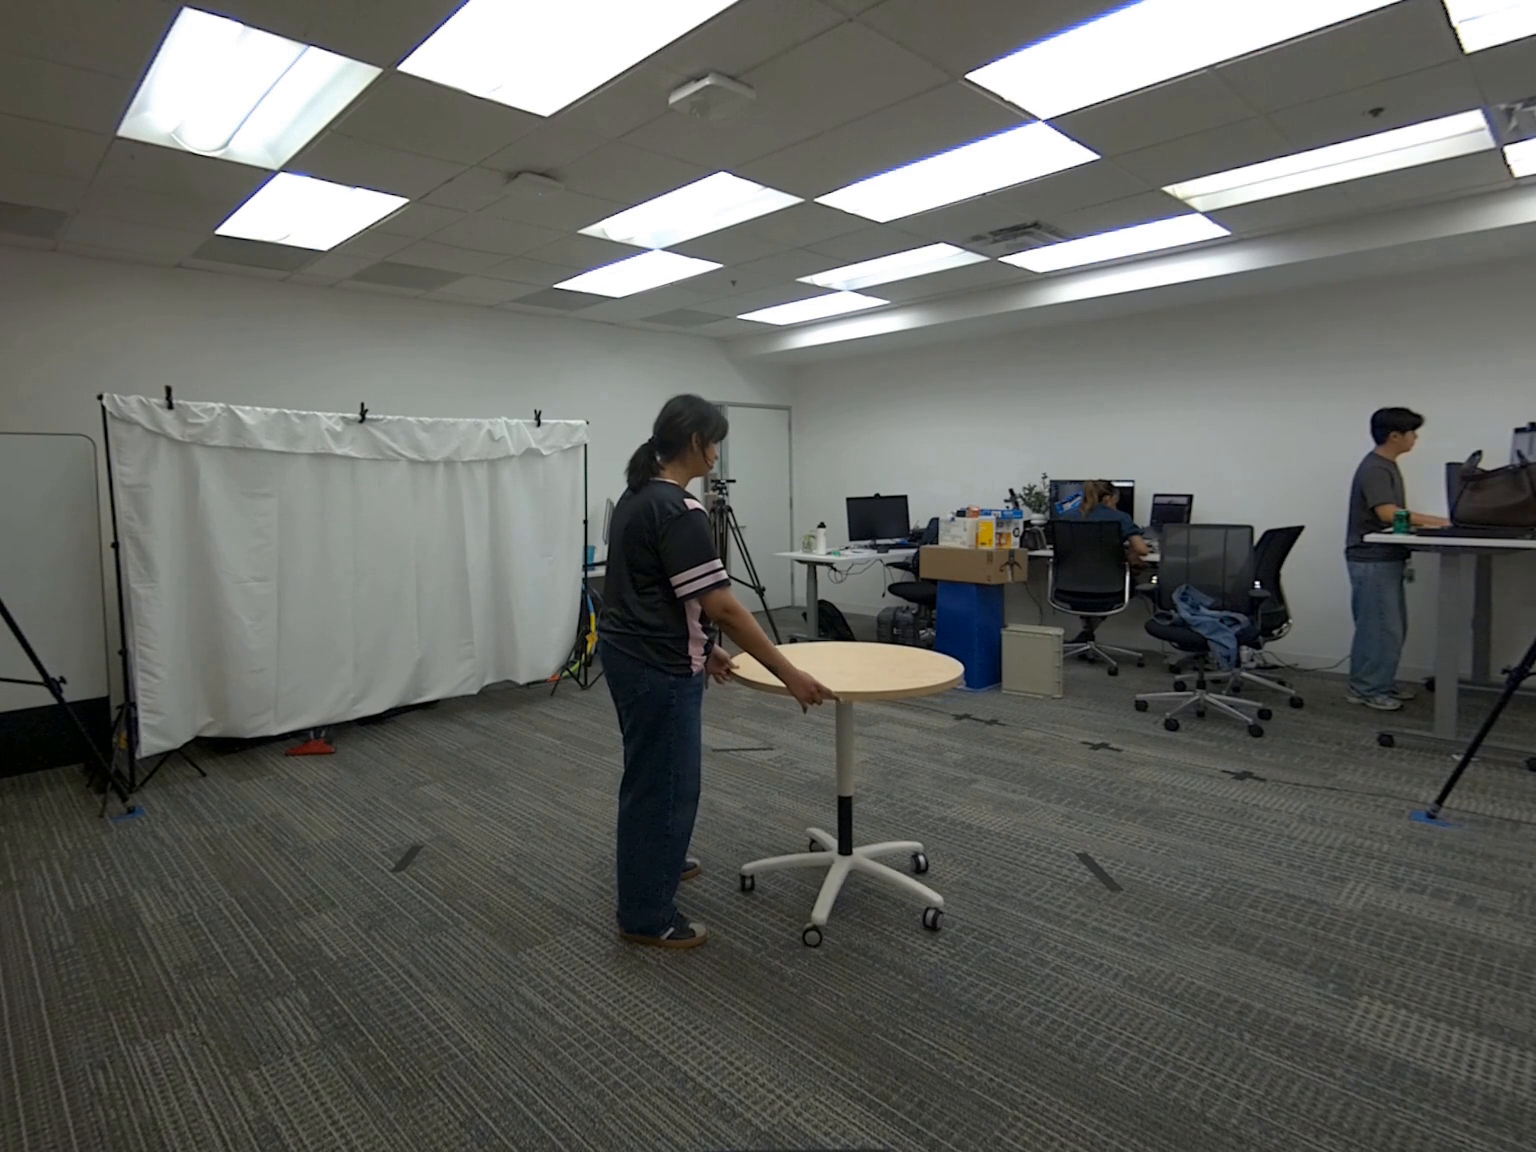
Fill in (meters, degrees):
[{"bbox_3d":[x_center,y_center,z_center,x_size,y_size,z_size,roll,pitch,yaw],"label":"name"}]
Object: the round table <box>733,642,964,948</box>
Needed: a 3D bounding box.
[{"bbox_3d":[0.258,0.682,2.850,0.763,0.791,0.768,-1,5,-2],"label":"round table"}]
